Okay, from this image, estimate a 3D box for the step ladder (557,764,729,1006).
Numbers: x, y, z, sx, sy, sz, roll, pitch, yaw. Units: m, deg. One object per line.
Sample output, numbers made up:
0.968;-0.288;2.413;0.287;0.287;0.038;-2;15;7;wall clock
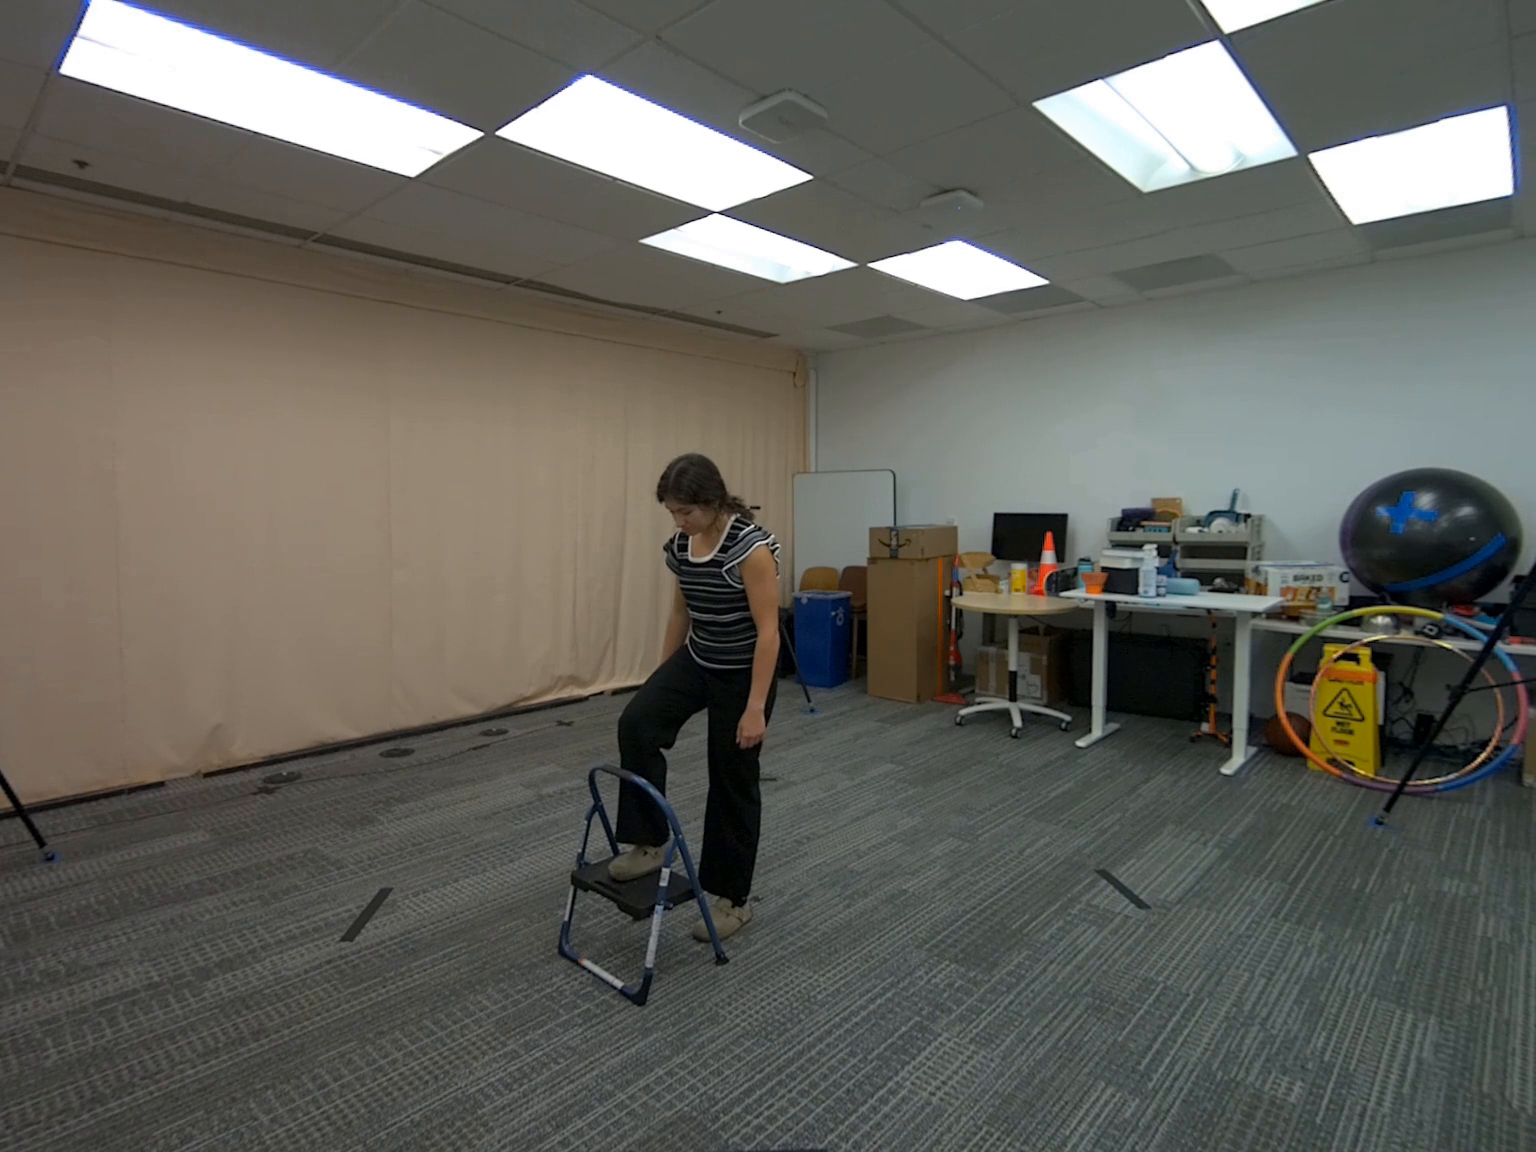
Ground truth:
-0.395;0.879;2.585;0.445;0.605;0.338;3;4;42;step ladder
